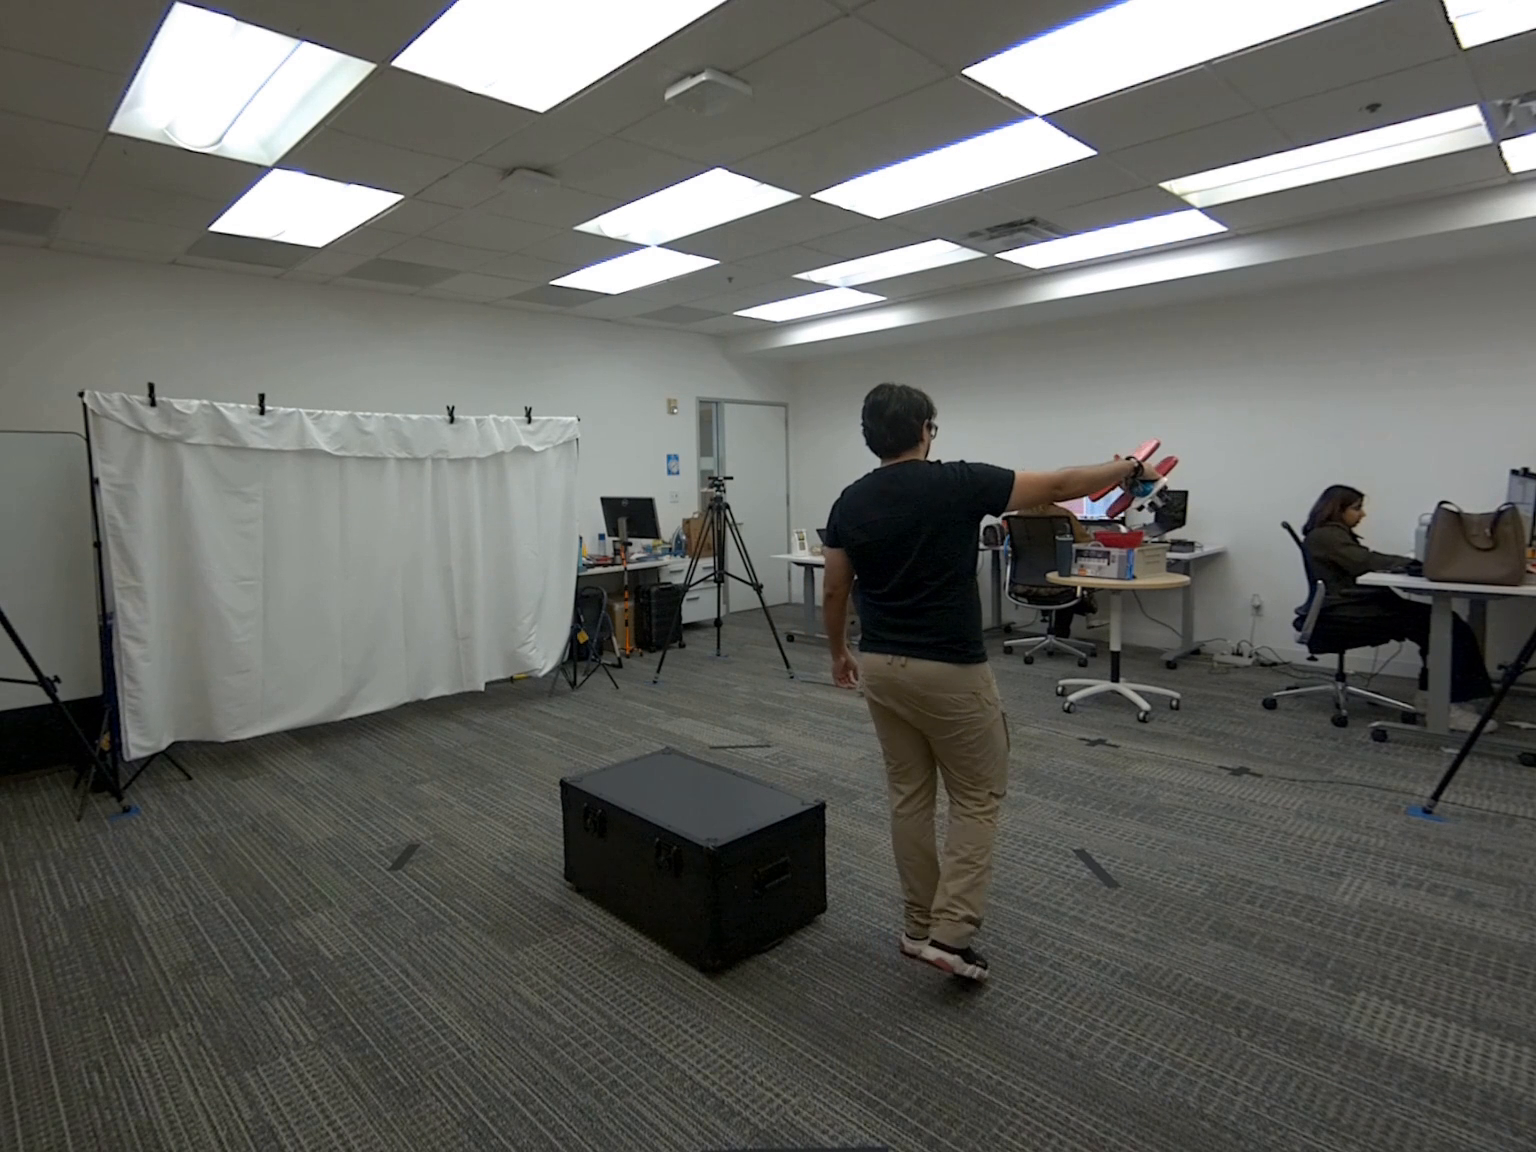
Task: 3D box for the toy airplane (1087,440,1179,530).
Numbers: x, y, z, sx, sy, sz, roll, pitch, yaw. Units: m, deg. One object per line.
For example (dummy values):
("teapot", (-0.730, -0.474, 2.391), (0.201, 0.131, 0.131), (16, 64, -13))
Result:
("toy airplane", (1.136, -0.284, 2.540), (0.251, 0.158, 0.257), (-44, -5, -9))
